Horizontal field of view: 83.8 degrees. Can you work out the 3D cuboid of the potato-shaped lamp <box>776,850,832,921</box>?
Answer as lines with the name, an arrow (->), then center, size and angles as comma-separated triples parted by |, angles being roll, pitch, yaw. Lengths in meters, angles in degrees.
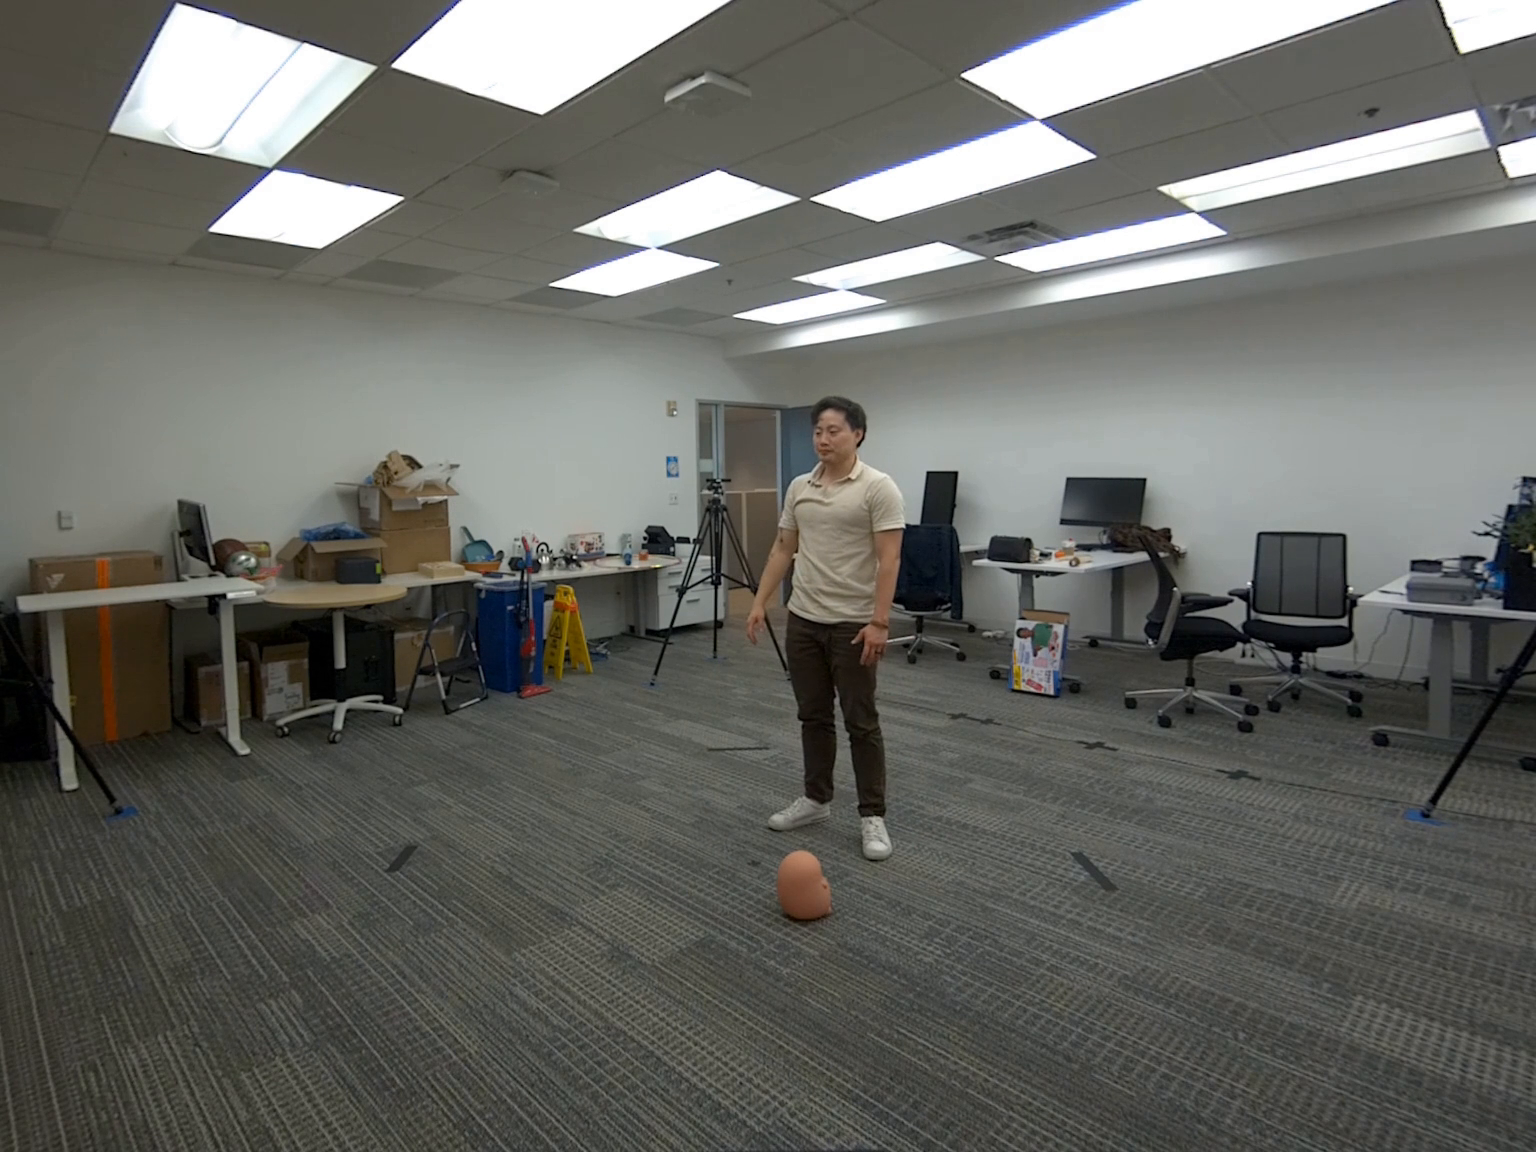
potato-shaped lamp -> 0.119, 0.980, 2.741 | 0.169, 0.197, 0.168 | -7, 6, -20
